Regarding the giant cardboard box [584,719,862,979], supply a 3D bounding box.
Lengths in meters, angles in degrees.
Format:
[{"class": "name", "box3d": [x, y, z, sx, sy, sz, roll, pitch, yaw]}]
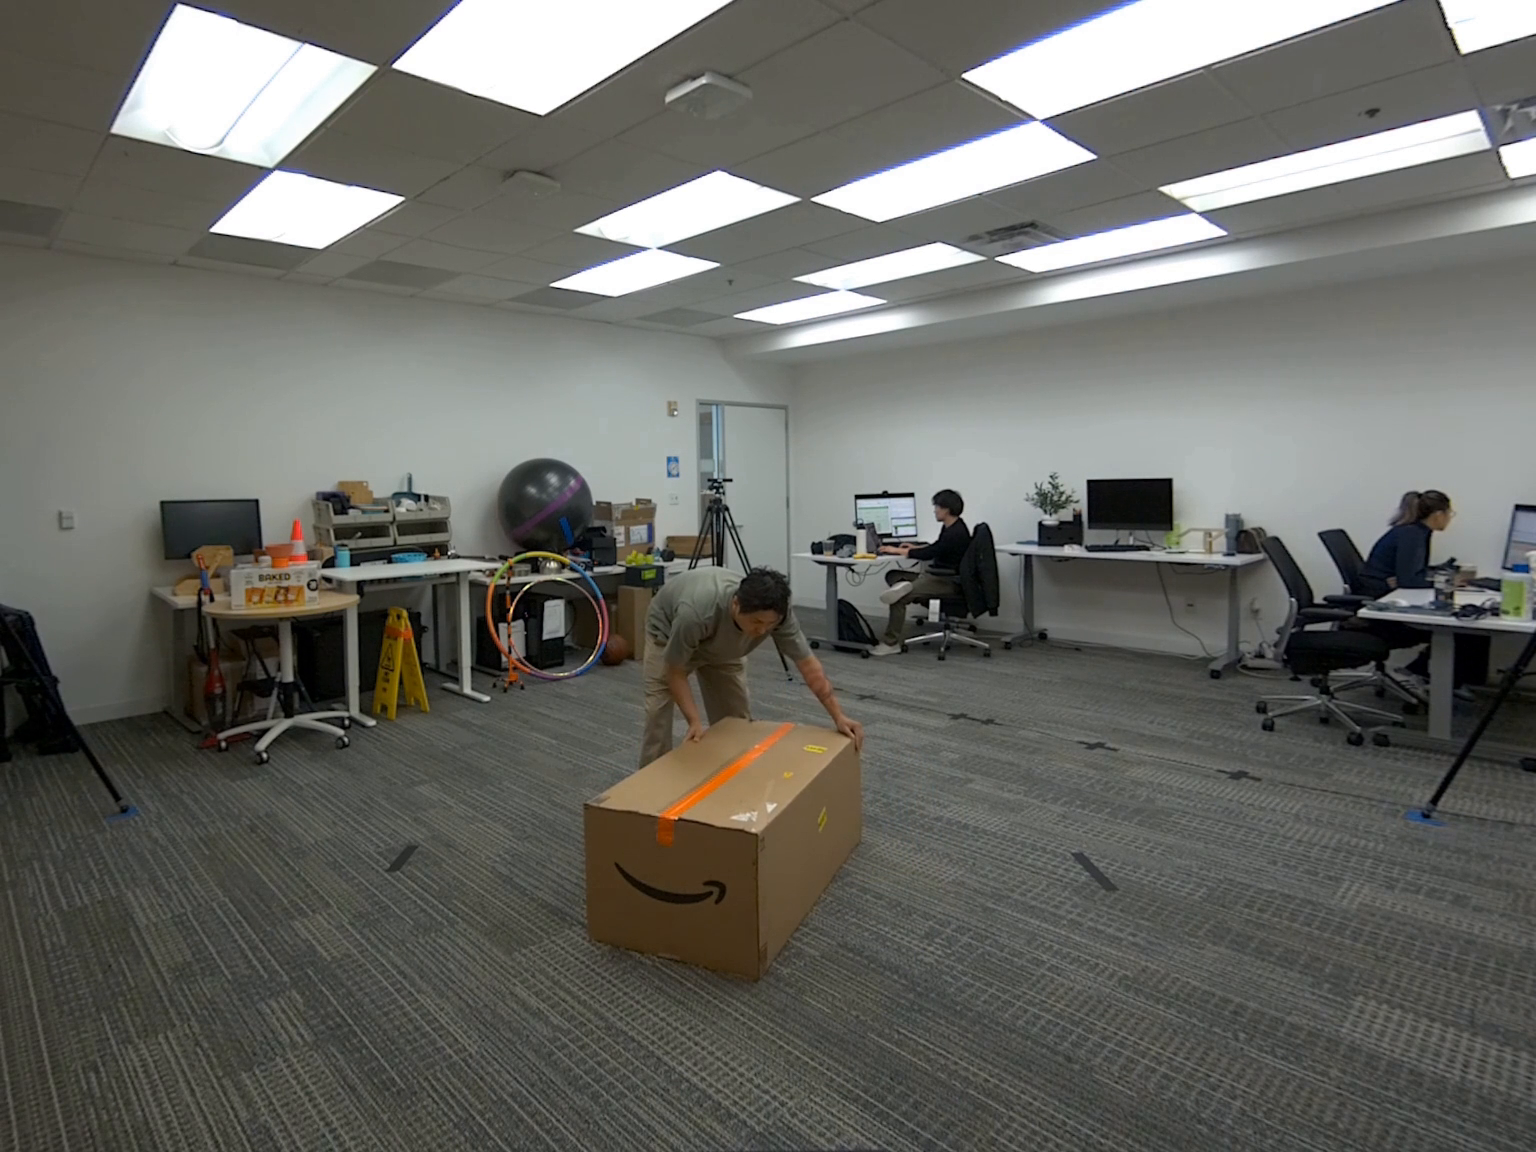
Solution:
[{"class": "giant cardboard box", "box3d": [-0.096, 0.850, 2.931, 0.590, 0.425, 1.008, 0, 5, 23]}]
